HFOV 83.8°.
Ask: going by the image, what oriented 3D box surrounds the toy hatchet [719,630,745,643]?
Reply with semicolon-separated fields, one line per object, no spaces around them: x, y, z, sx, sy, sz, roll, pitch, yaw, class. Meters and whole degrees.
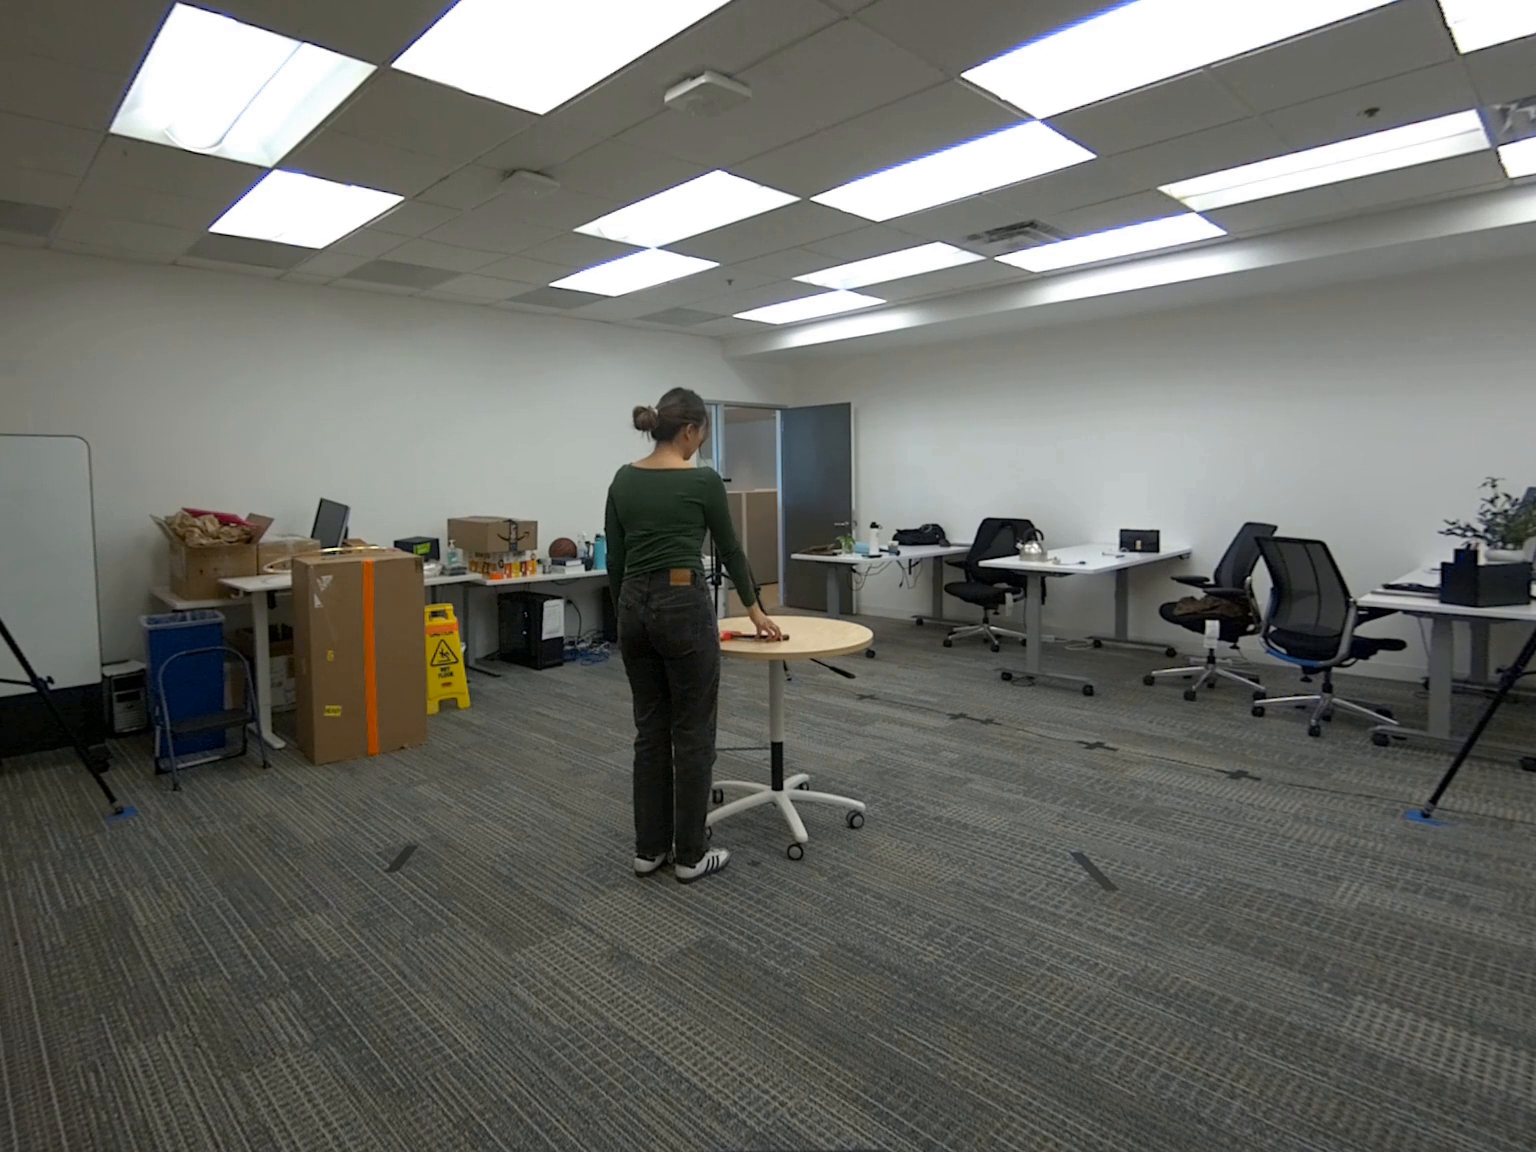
-0.063;0.231;3.299;0.268;0.029;0.132;1;3;-6;toy hatchet
